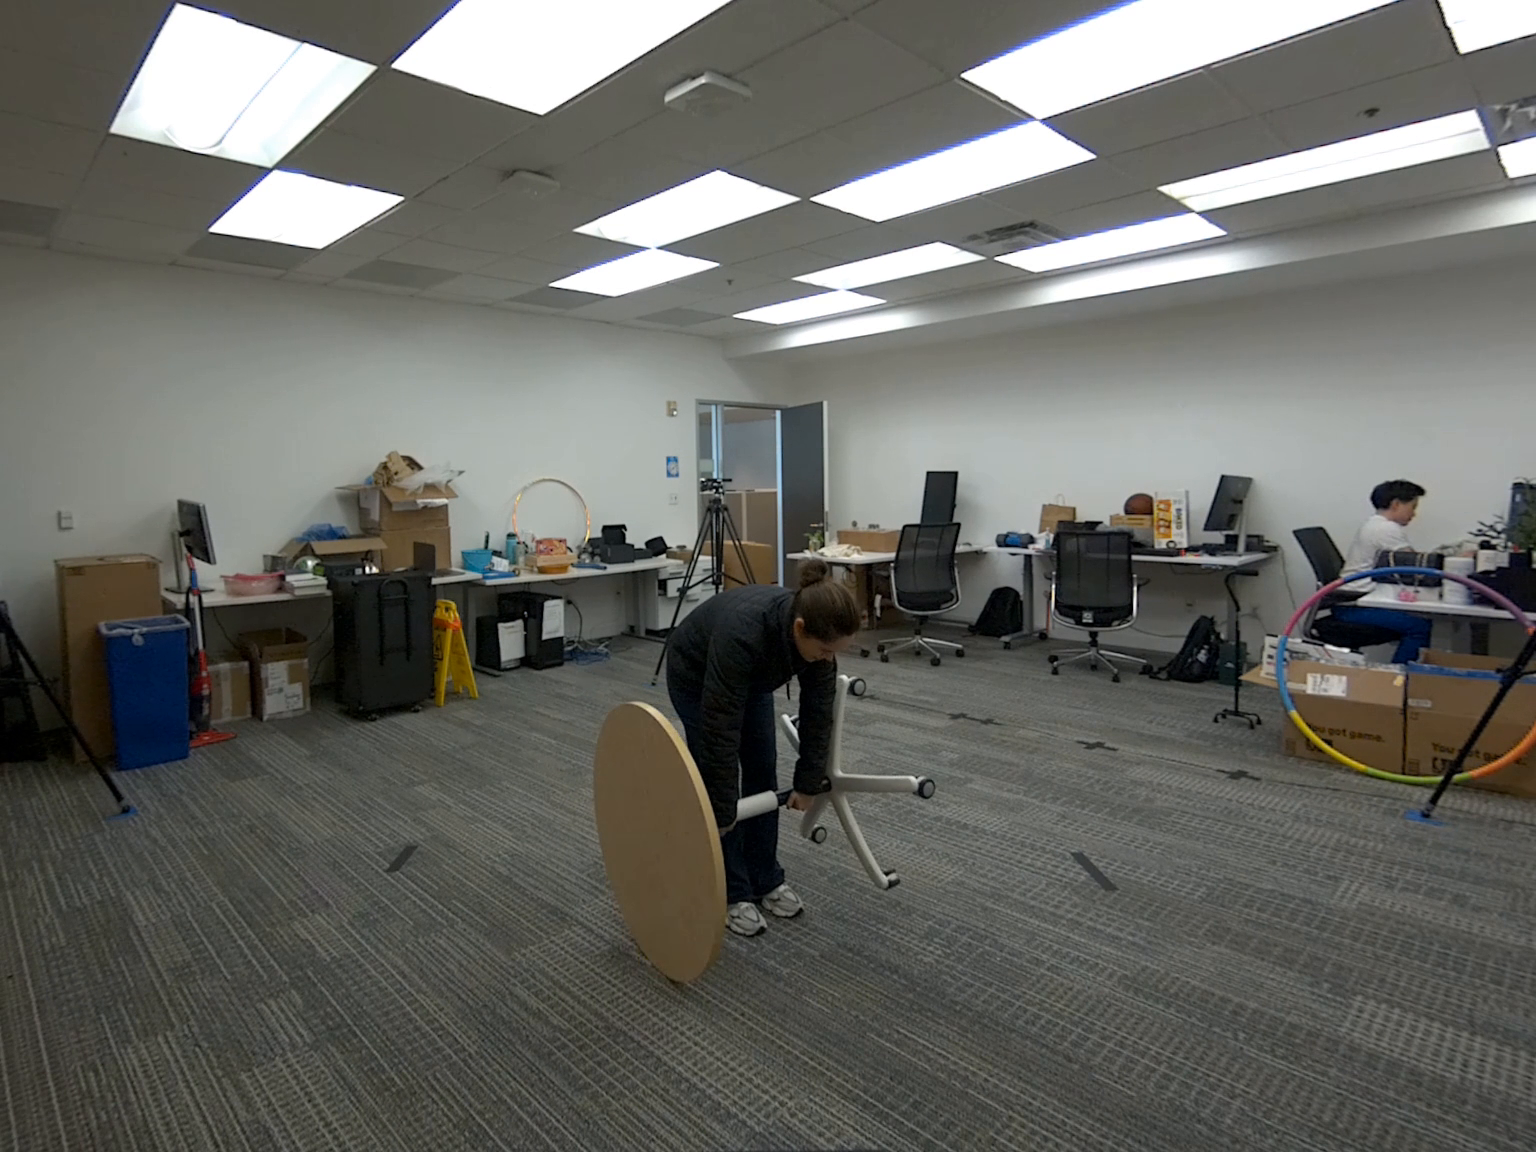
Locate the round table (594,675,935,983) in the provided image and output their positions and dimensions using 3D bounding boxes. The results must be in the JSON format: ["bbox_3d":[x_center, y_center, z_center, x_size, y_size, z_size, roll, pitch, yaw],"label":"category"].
[{"bbox_3d":[-0.022,0.714,2.666,0.767,0.782,0.808,-5,6,-35],"label":"round table"}]
